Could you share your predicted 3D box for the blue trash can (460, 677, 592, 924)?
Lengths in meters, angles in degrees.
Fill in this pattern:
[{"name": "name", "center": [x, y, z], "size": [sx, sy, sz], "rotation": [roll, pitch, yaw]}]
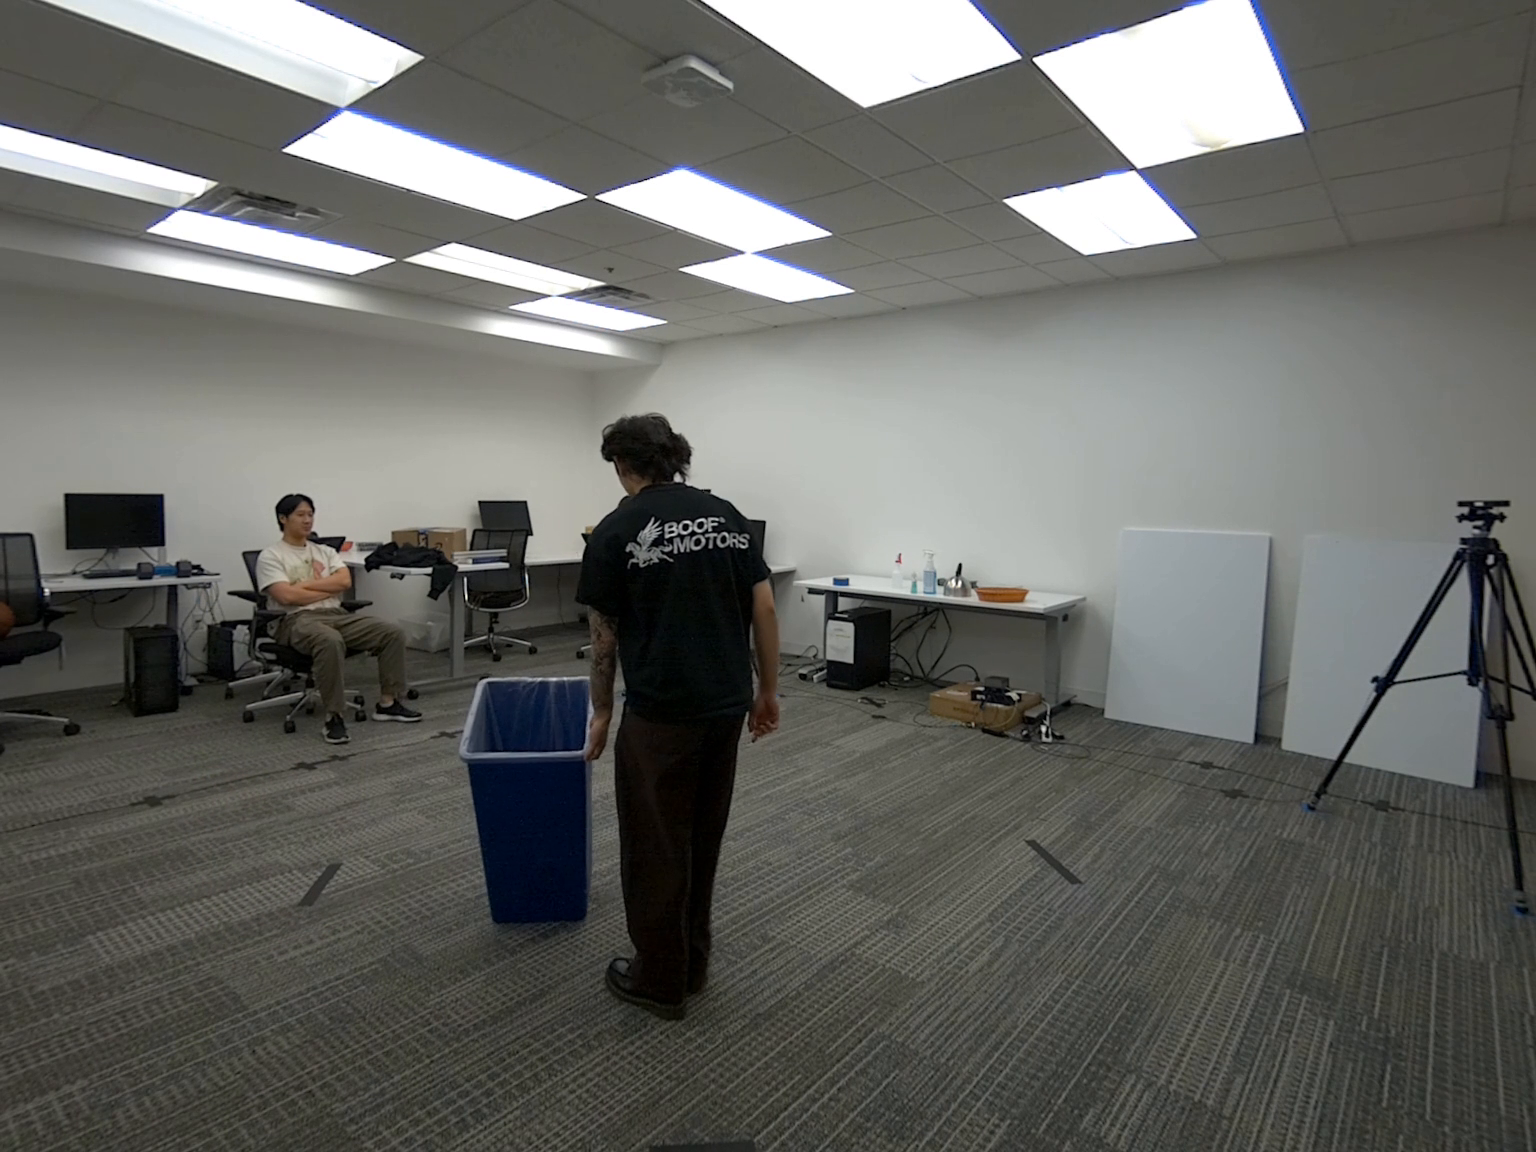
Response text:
[{"name": "blue trash can", "center": [-0.738, 0.726, 2.679], "size": [0.375, 0.698, 0.385], "rotation": [0, 26, -8]}]
